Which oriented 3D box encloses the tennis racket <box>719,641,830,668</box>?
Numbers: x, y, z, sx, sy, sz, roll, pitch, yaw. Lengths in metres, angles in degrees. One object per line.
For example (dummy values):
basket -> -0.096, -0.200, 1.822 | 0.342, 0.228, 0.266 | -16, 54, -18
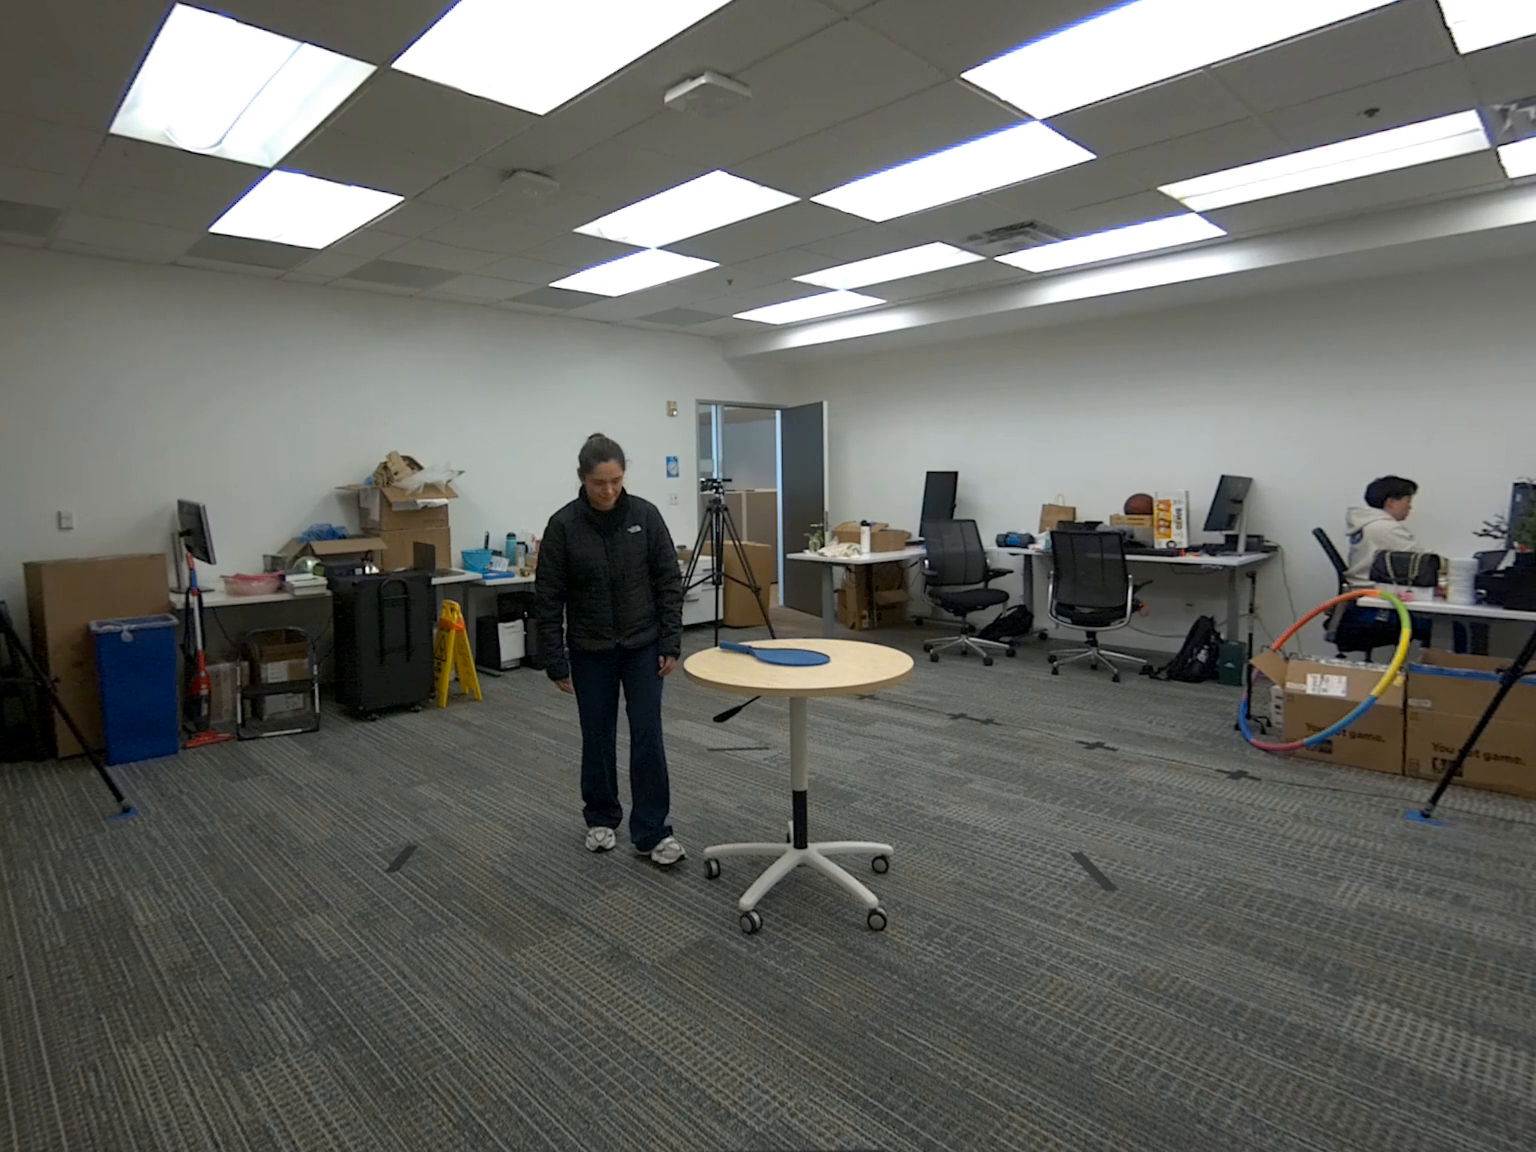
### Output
tennis racket -> 0.008, 0.268, 2.964 | 0.446, 0.031, 0.208 | 6, 9, 37
